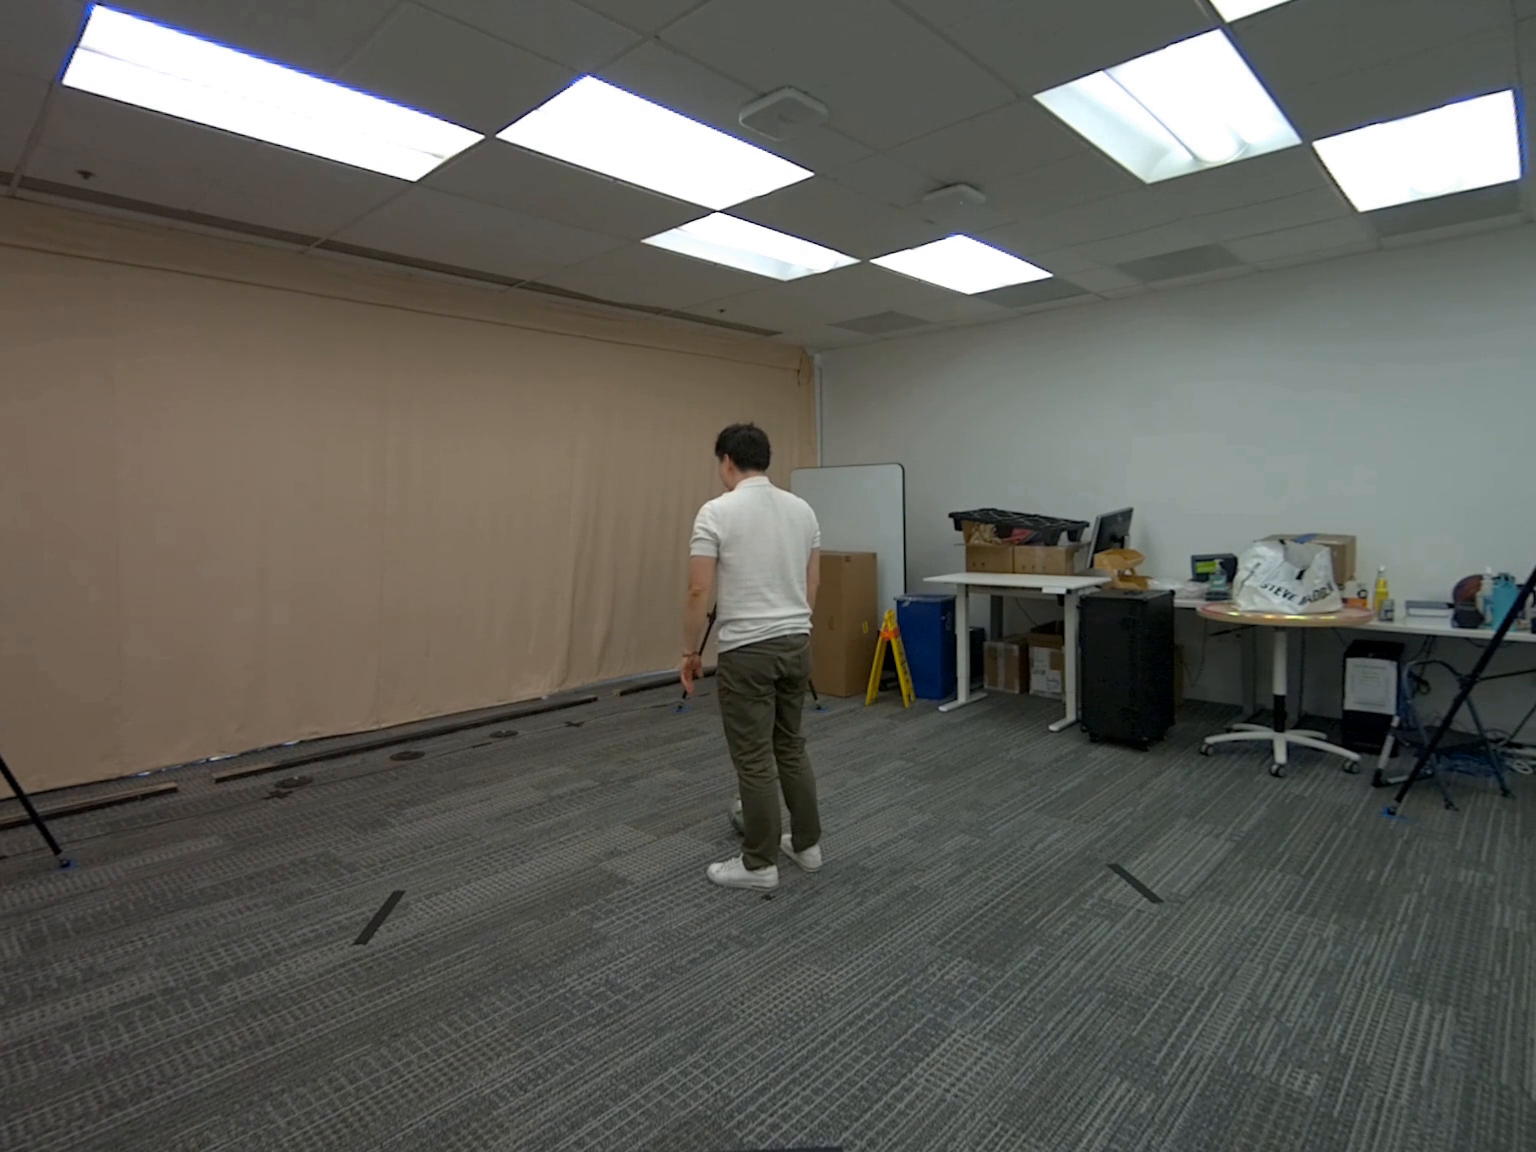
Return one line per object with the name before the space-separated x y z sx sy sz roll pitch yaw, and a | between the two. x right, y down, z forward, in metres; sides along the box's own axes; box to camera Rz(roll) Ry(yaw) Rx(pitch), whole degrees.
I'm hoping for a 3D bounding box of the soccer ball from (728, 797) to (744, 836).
soccer ball | -0.075 0.997 3.558 0.187 0.187 0.188 -1 4 -2
